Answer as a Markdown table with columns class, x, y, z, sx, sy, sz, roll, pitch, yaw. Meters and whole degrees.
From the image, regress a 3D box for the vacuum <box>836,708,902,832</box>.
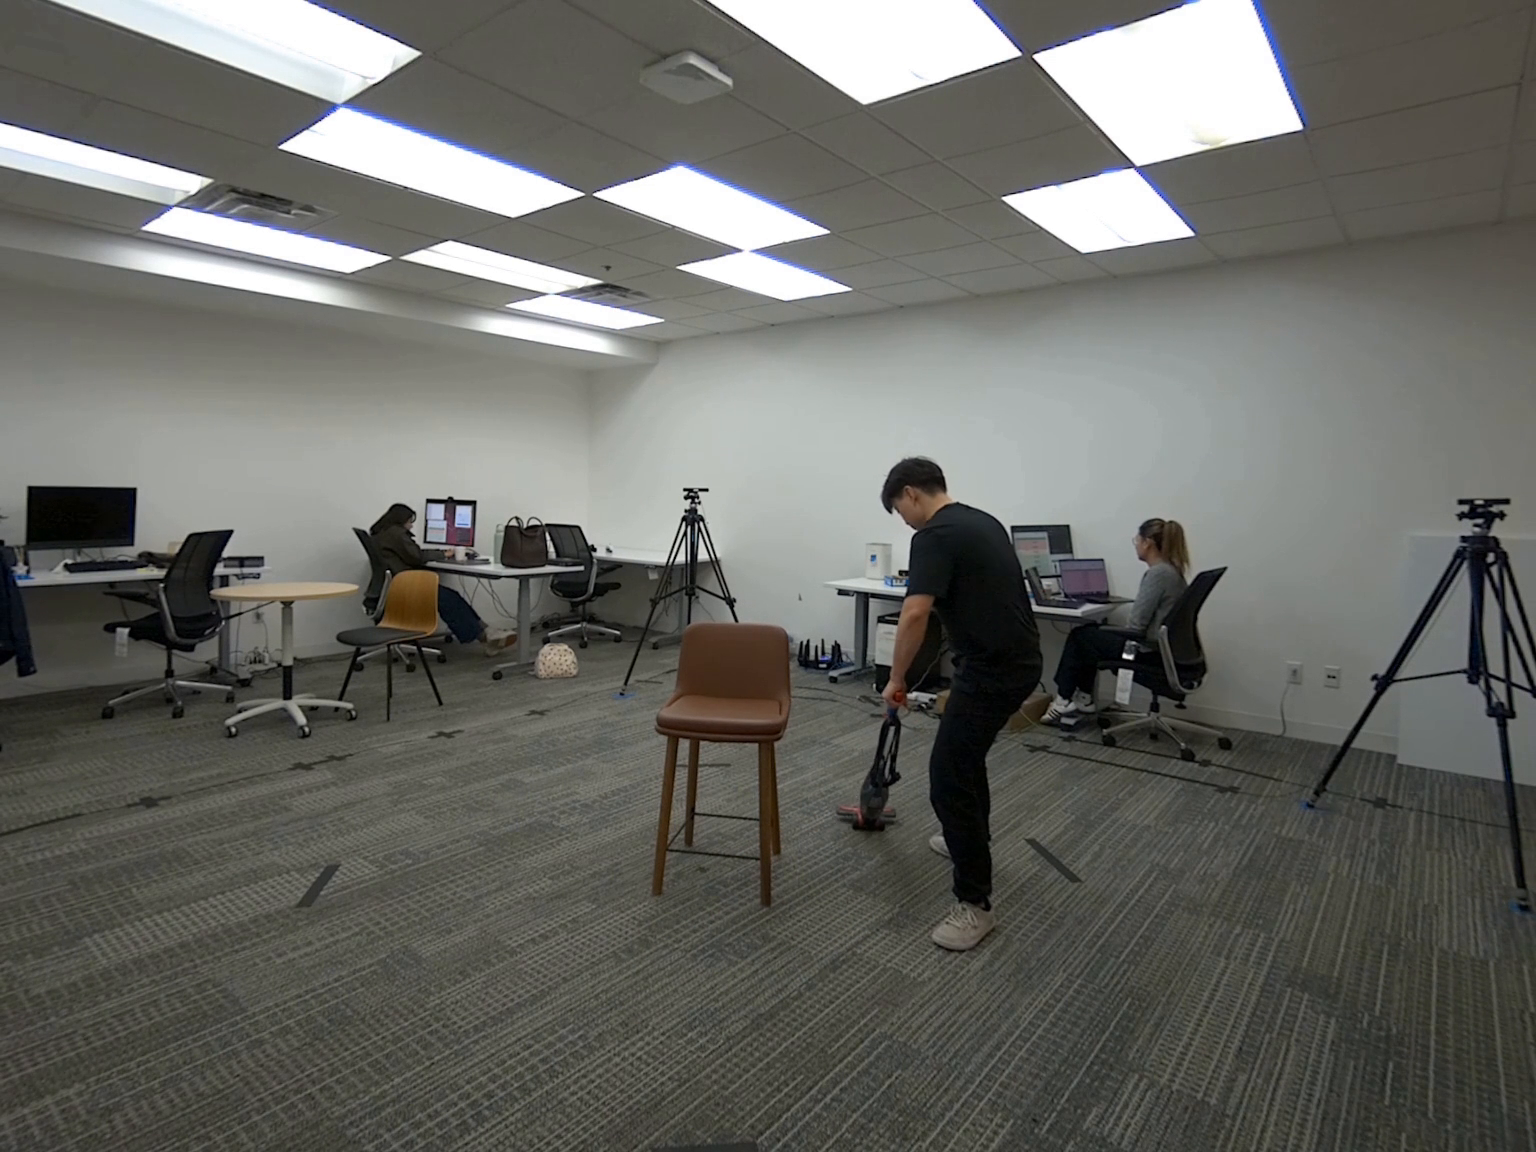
| class | x | y | z | sx | sy | sz | roll | pitch | yaw |
| --- | --- | --- | --- | --- | --- | --- | --- | --- | --- |
| vacuum | 0.406 | 0.713 | 3.175 | 0.253 | 0.148 | 1.018 | 0 | -37 | 2 |
